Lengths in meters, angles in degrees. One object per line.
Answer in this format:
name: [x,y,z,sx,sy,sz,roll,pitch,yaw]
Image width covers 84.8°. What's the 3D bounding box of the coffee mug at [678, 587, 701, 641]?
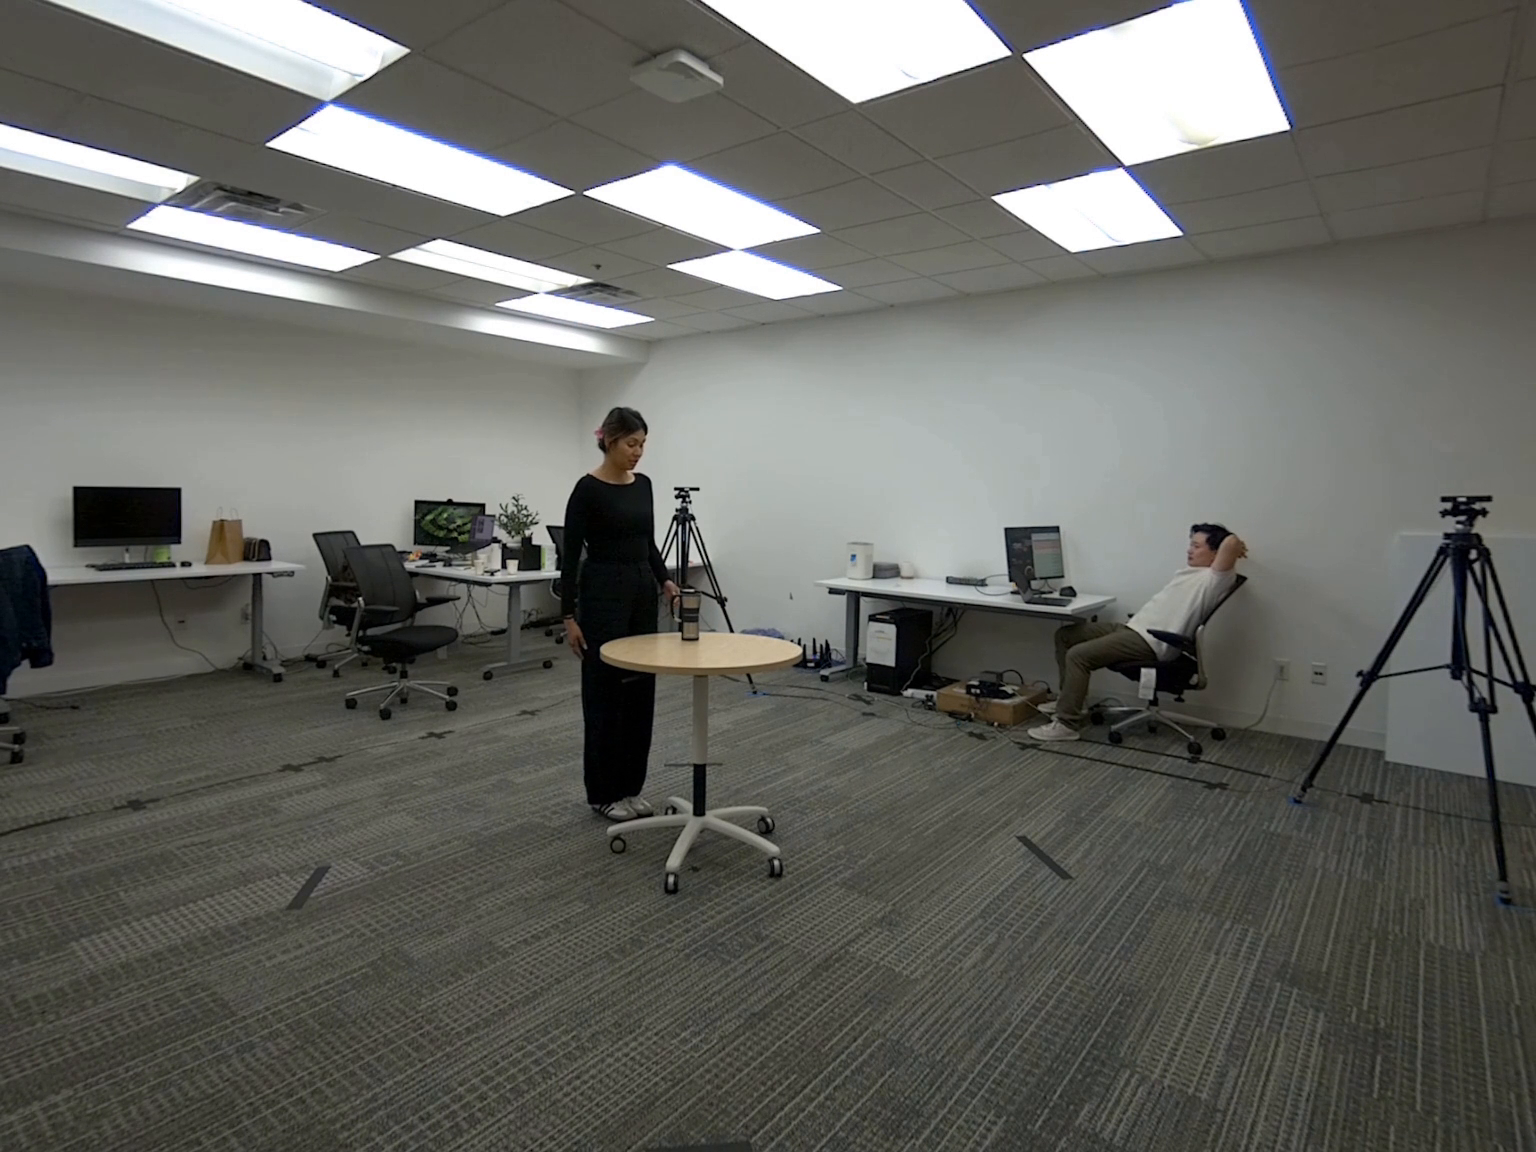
coffee mug: [-0.338,0.152,3.425,0.126,0.202,0.085,6,8,37]
